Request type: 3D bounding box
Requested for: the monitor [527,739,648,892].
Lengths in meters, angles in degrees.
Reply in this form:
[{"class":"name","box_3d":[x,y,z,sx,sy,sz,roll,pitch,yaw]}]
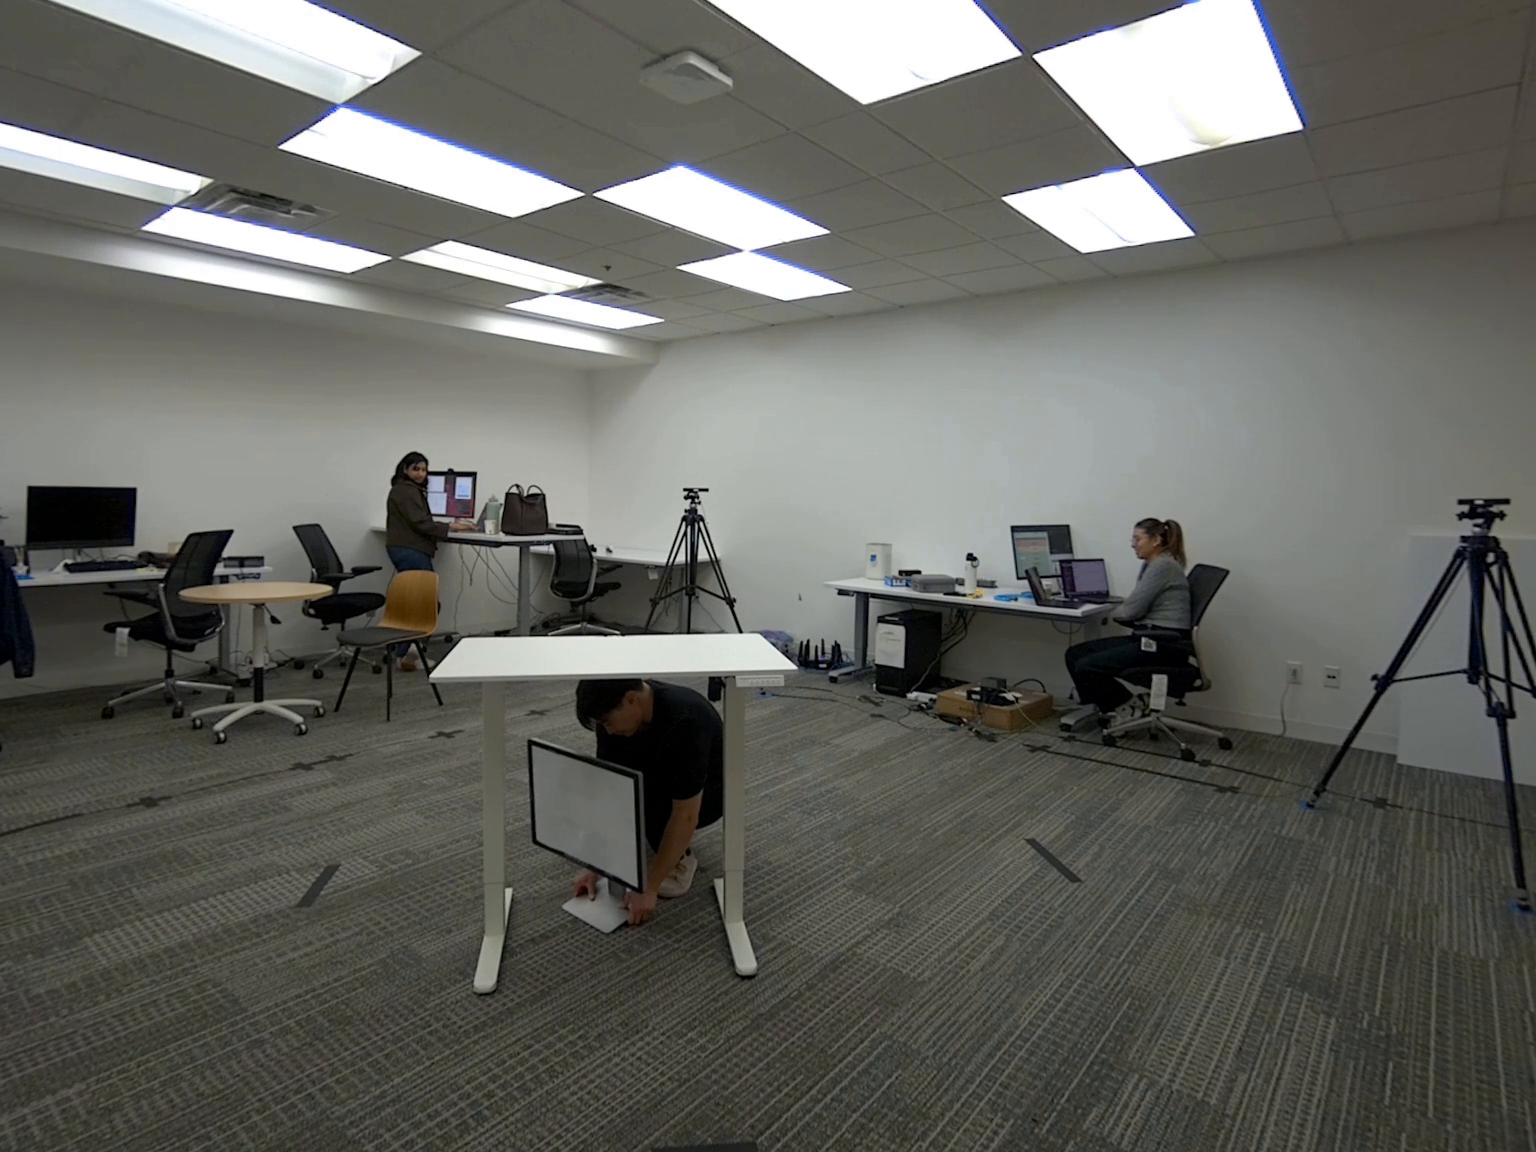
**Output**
[{"class":"monitor","box_3d":[-0.572,0.821,2.745,0.557,0.515,0.183,3,17,41]}]
